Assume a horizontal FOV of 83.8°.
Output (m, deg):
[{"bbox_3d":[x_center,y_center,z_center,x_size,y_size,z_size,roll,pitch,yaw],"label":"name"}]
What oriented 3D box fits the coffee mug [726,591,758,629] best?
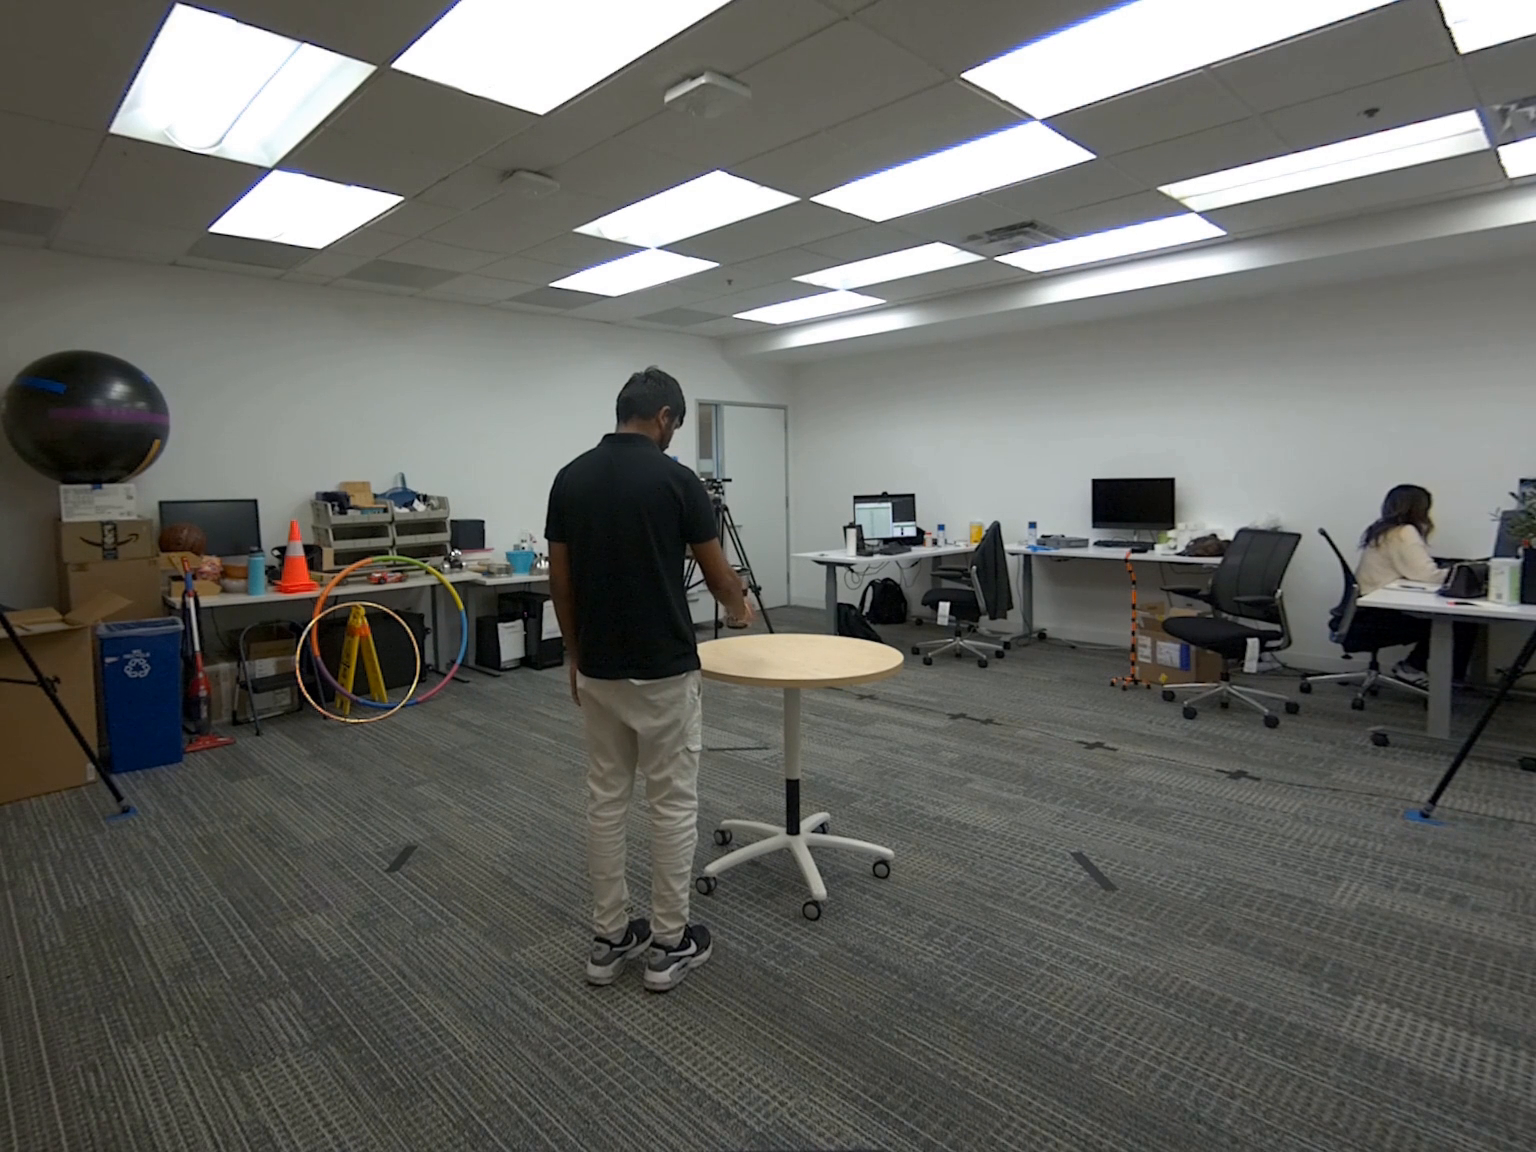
[{"bbox_3d":[-0.116,0.071,2.824,0.124,0.202,0.087,3,7,14],"label":"coffee mug"}]
